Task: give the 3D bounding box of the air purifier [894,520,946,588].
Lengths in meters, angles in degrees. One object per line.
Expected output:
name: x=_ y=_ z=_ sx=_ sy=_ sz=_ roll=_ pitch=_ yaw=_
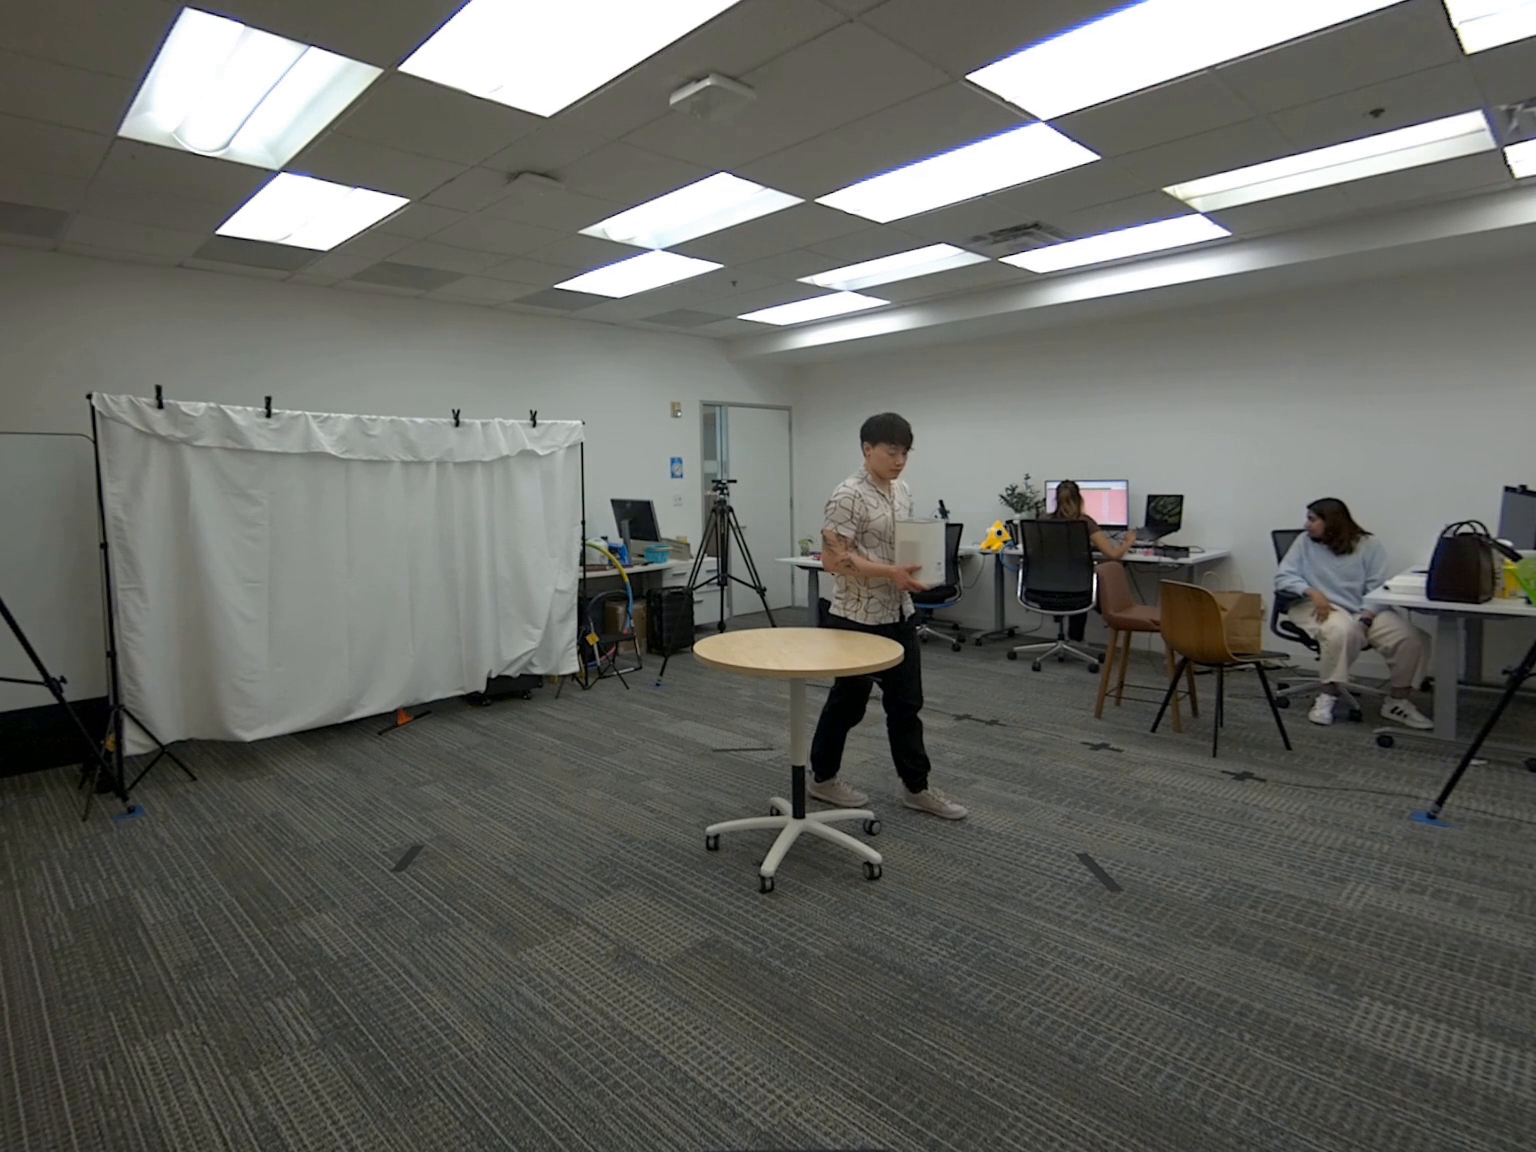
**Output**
air purifier: x=0.605 y=-0.092 z=3.413 sx=0.177 sy=0.264 sz=0.167 roll=4 pitch=8 yaw=37
